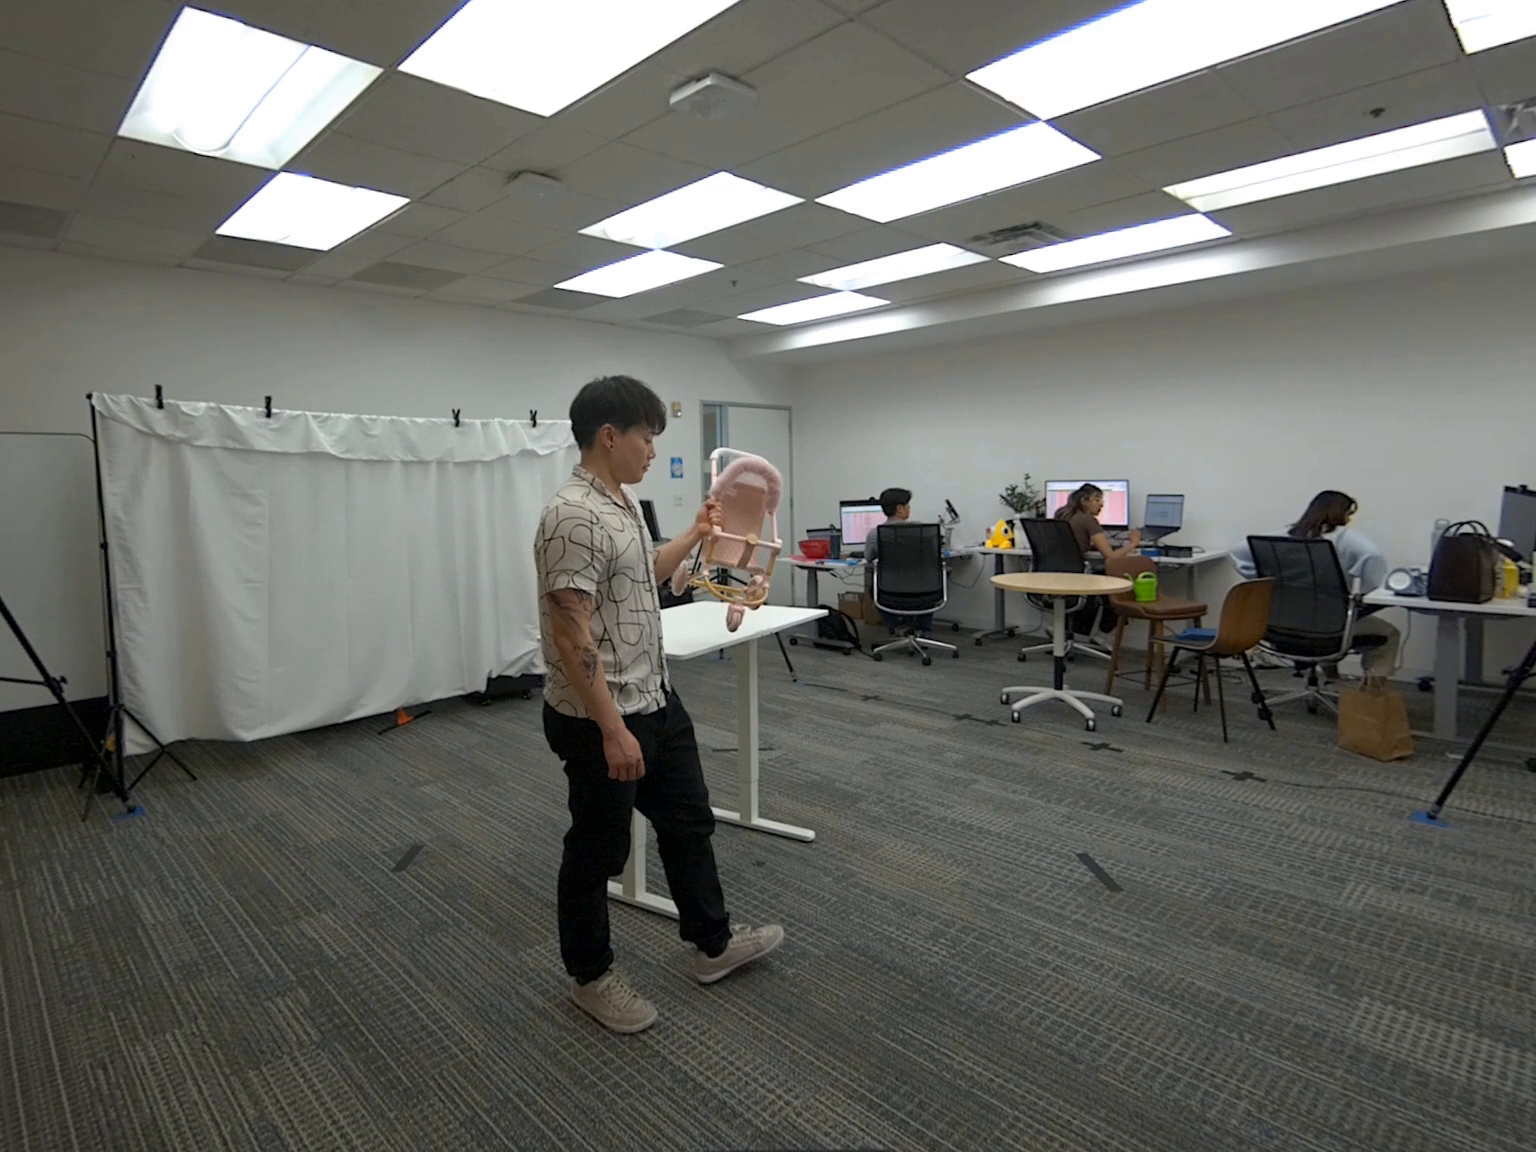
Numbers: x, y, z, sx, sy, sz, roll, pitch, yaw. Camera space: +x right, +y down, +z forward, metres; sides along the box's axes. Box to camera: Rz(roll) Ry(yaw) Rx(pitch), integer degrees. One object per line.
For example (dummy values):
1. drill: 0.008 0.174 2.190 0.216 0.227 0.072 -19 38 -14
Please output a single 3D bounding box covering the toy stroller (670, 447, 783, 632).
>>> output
1. toy stroller: -0.087 -0.114 2.525 0.277 0.535 0.346 13 -1 -14
